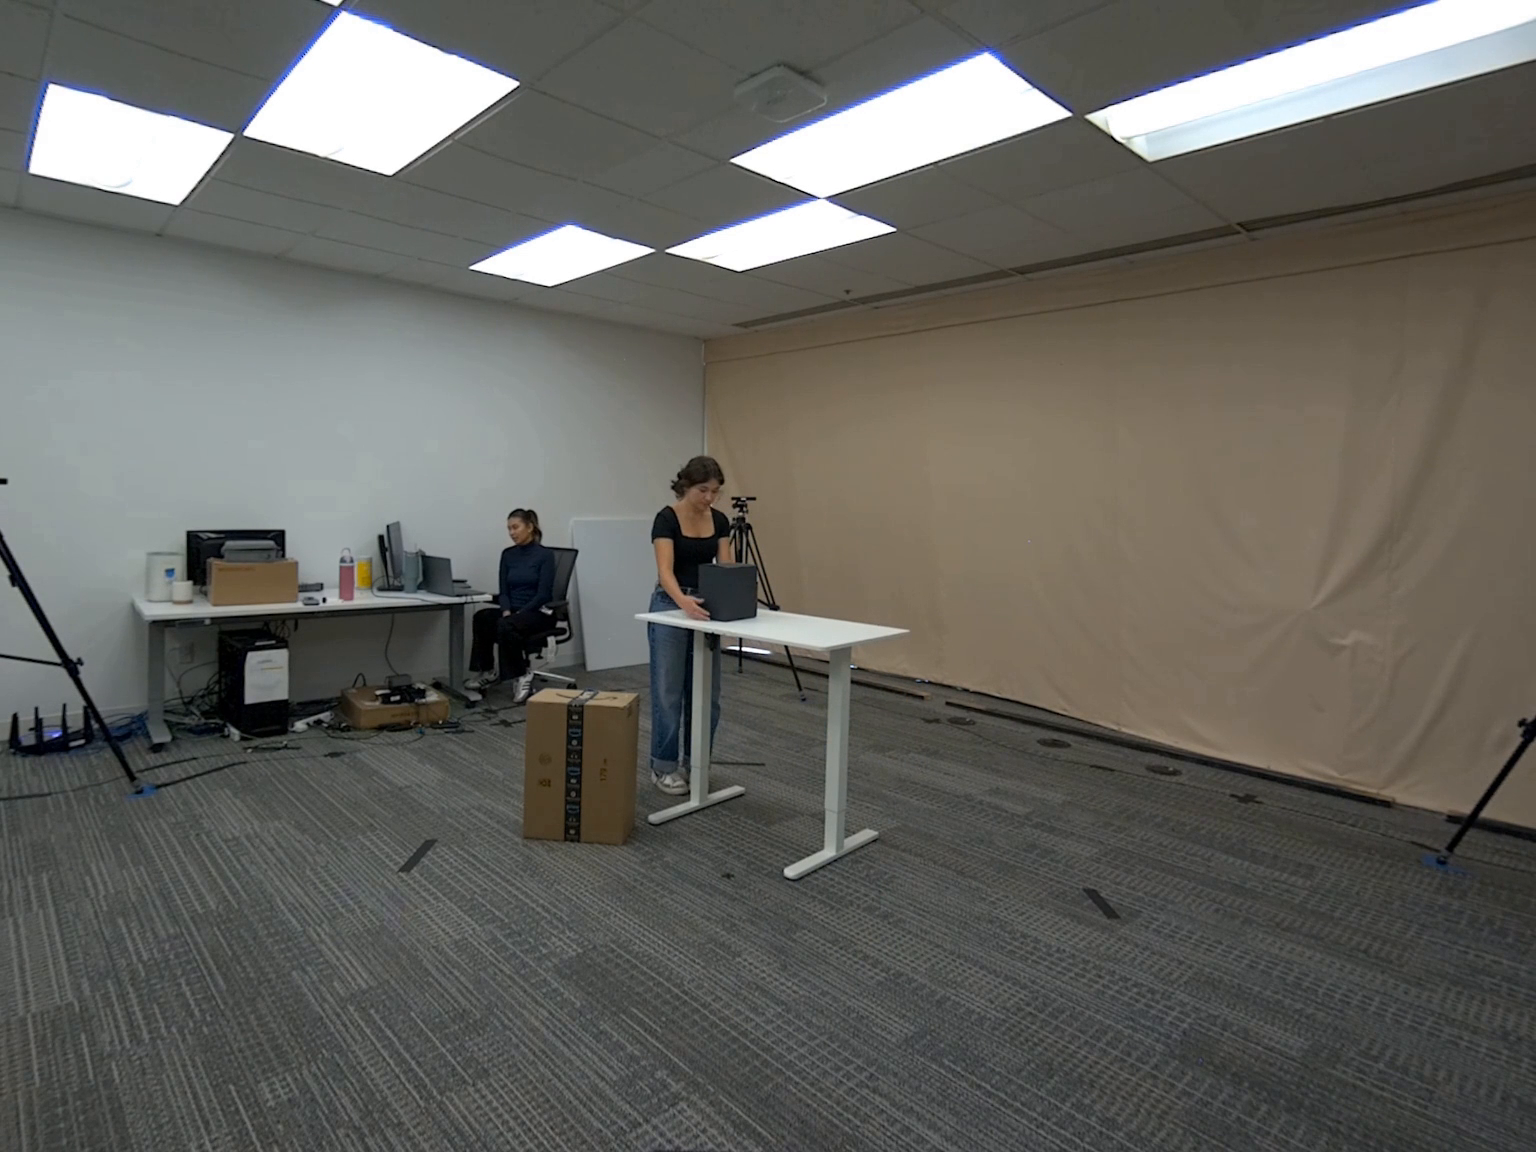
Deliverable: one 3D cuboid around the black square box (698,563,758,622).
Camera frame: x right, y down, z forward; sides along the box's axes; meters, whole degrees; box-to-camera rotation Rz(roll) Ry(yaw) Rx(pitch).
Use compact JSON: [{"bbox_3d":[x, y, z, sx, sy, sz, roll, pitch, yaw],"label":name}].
[{"bbox_3d":[-0.179,0.062,3.596,0.160,0.227,0.212,7,7,45],"label":"black square box"}]
